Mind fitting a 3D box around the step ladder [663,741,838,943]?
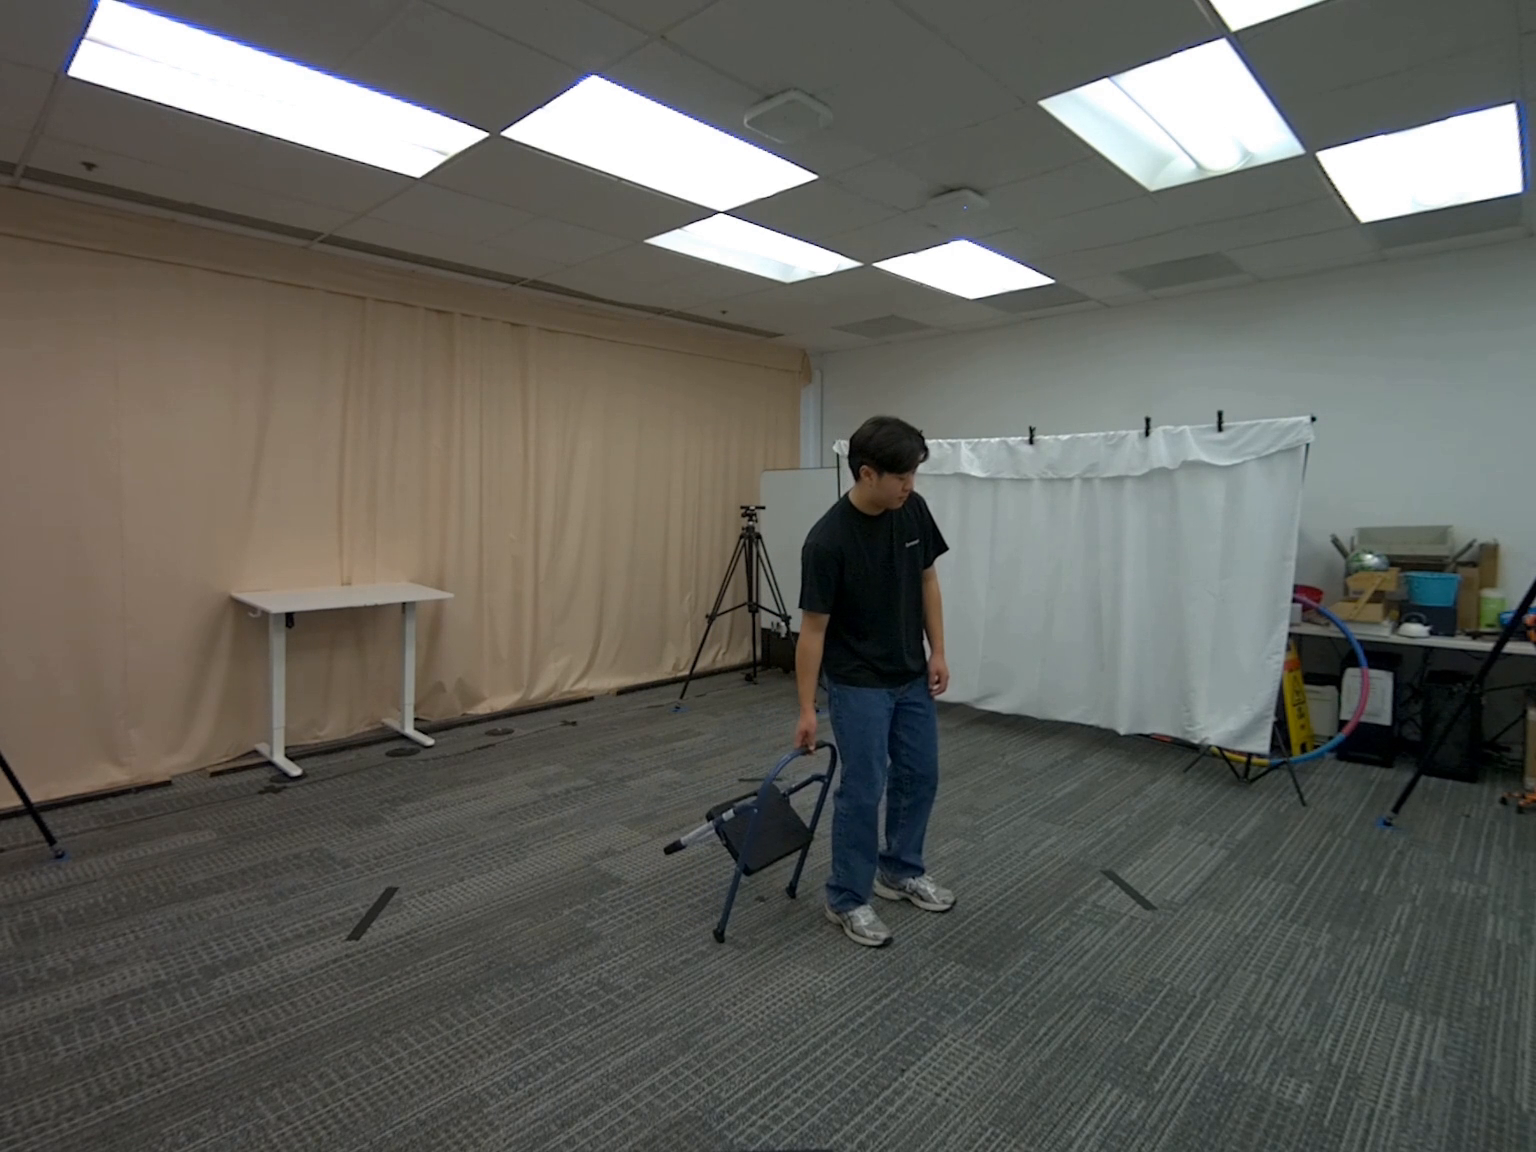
[{"bbox_3d":[0.028,0.817,2.783,0.417,0.607,0.359,-4,45,-52],"label":"step ladder"}]
